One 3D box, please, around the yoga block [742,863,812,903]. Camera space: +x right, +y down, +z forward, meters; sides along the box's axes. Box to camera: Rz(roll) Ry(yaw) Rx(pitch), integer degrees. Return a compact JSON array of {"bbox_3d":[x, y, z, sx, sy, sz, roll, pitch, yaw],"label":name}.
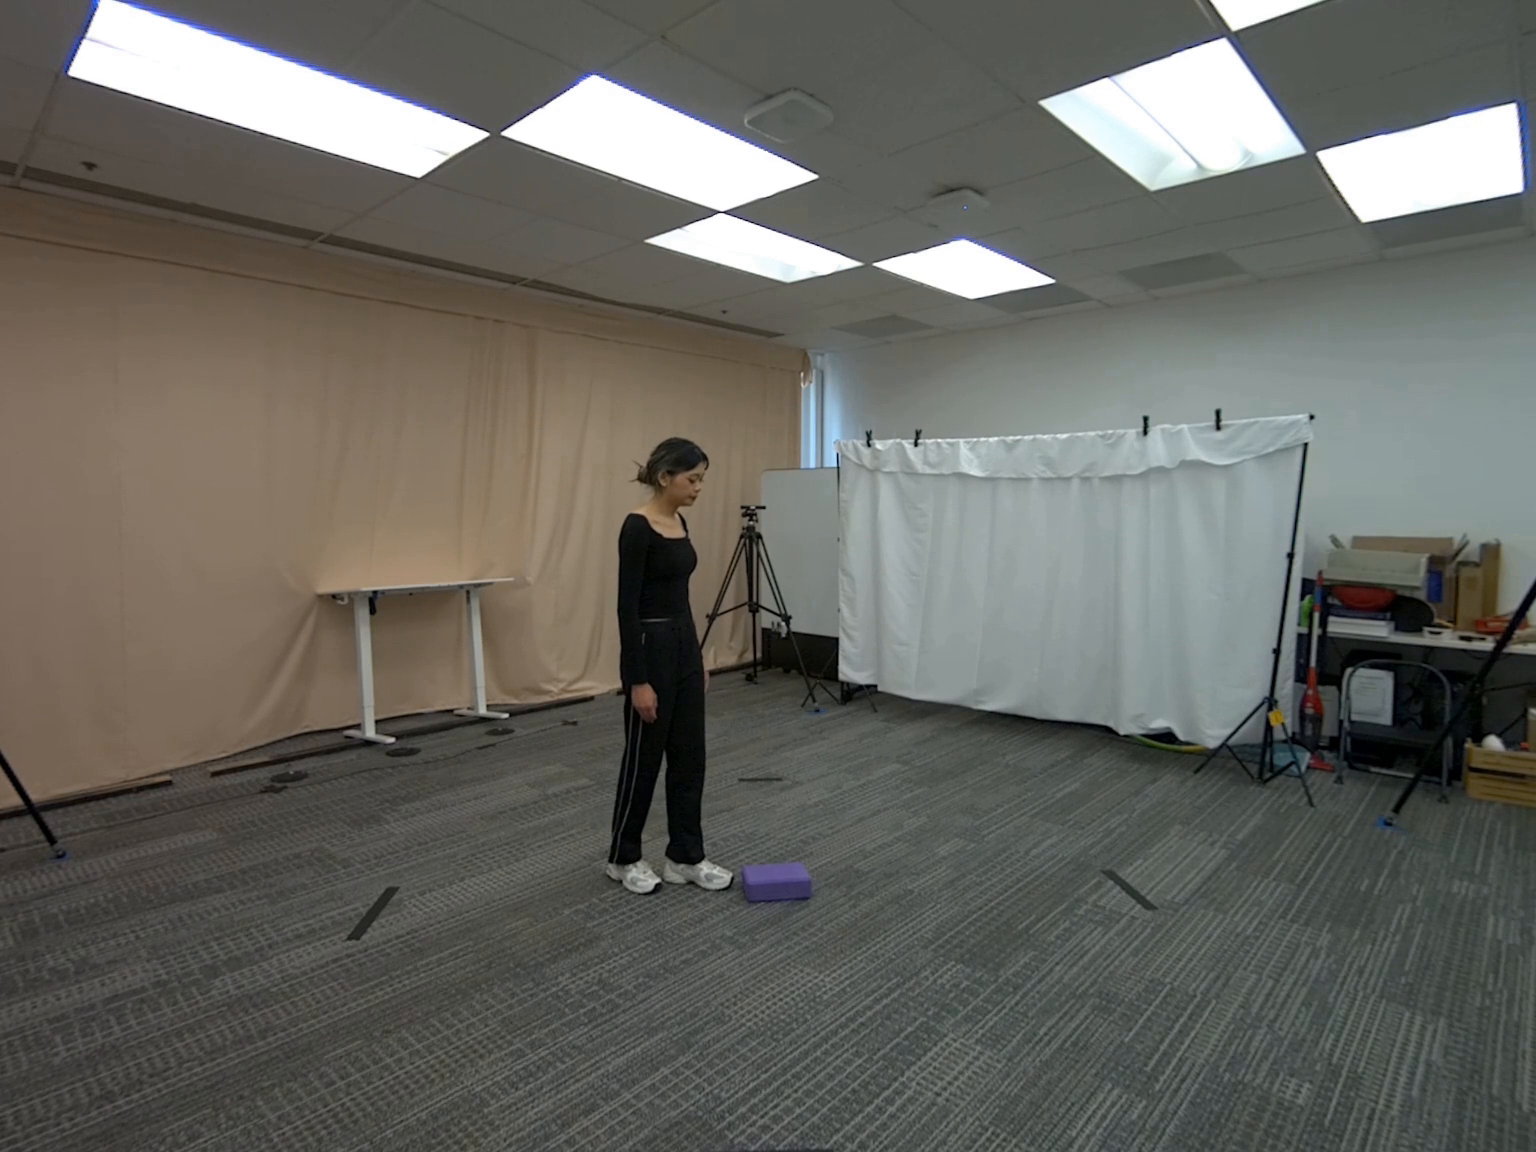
[{"bbox_3d":[0.031,1.100,3.028,0.227,0.076,0.151,-2,6,-8],"label":"yoga block"}]
